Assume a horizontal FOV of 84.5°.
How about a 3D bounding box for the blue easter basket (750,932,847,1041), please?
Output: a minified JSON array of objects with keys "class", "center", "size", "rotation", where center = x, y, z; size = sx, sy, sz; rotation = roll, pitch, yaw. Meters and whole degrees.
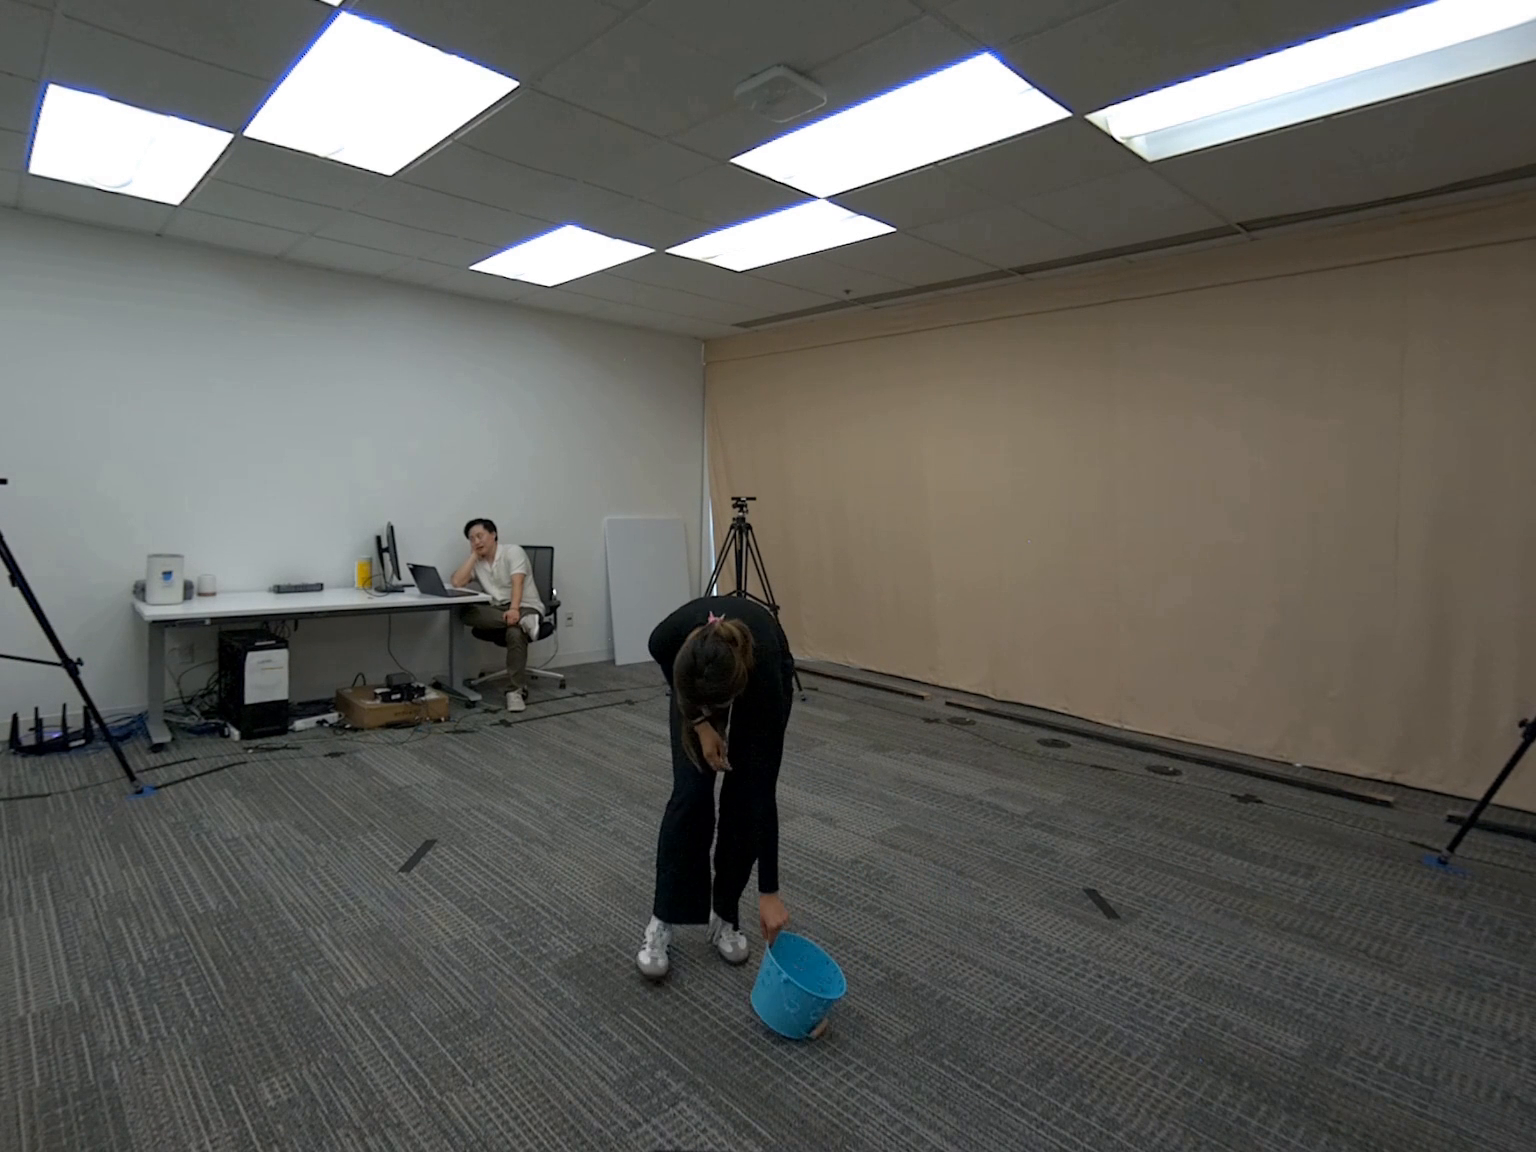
[{"class":"blue easter basket","center":[0.065,1.093,2.217],"size":[0.242,0.155,0.245],"rotation":[24,8,-5]}]
